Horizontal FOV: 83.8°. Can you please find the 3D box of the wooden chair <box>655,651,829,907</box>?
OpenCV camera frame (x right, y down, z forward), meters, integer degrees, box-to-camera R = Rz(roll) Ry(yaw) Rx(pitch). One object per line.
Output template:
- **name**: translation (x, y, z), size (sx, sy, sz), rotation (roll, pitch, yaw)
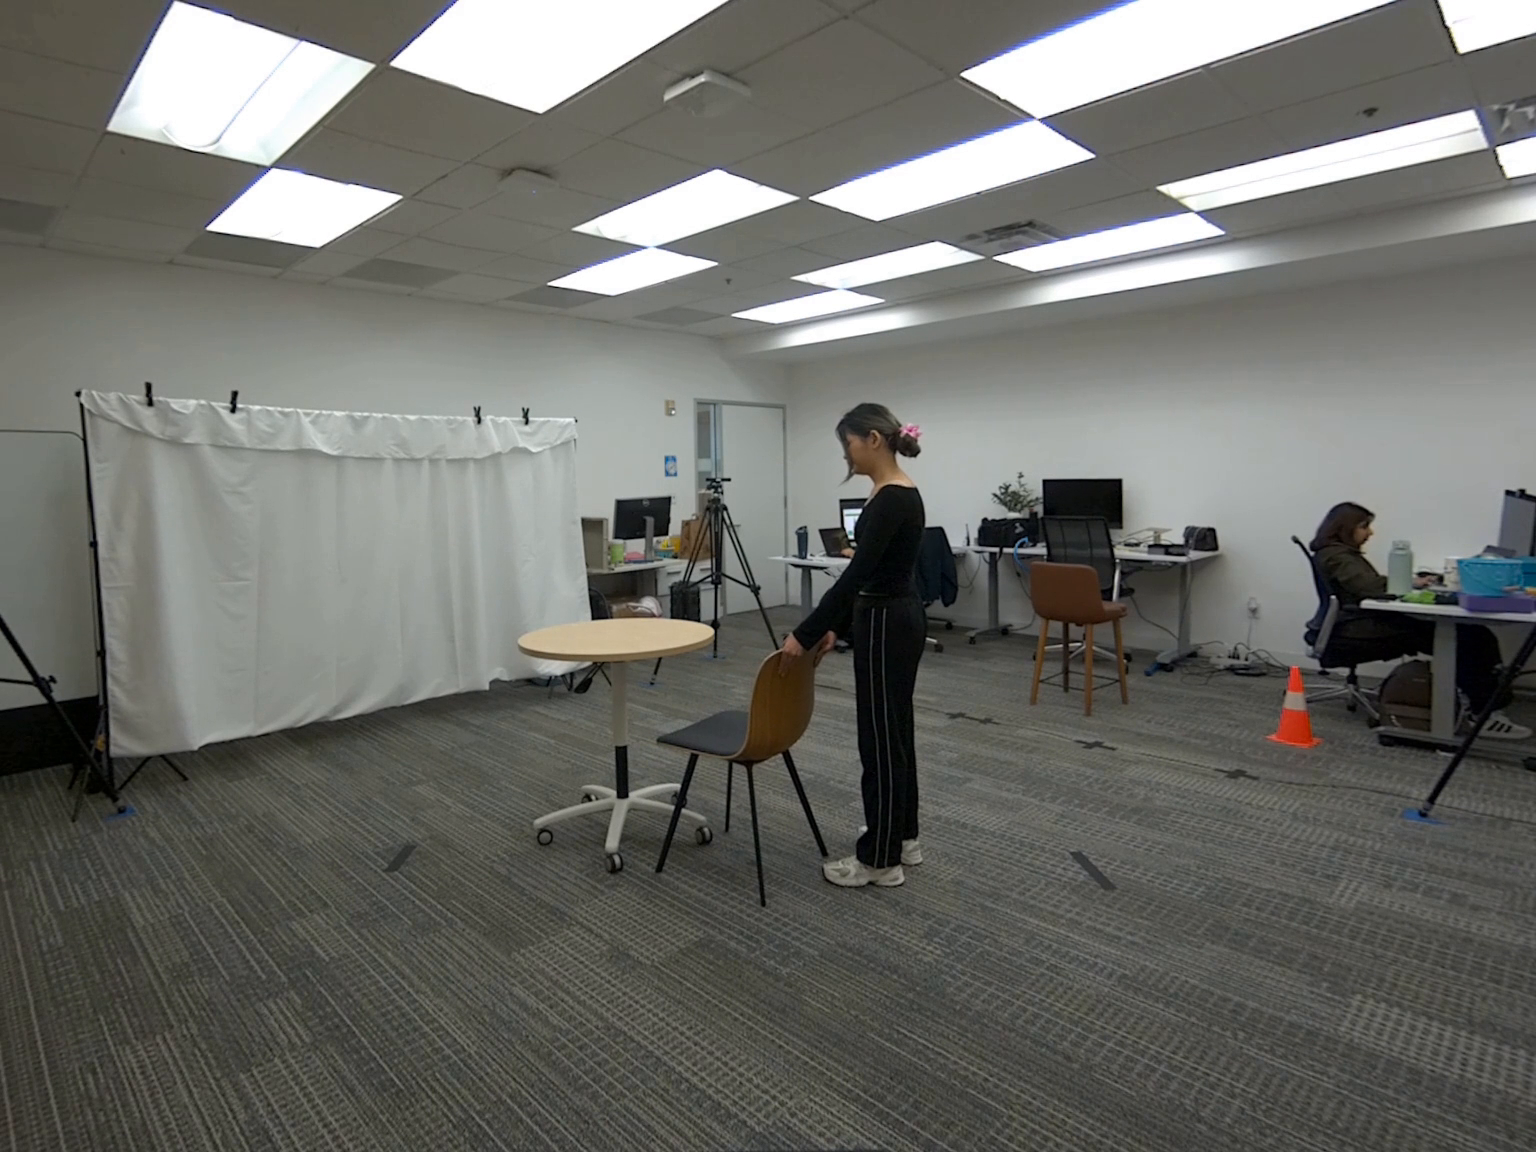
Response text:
- **wooden chair**: translation (-0.094, 0.619, 3.060), size (0.539, 0.872, 0.467), rotation (8, 8, 33)
